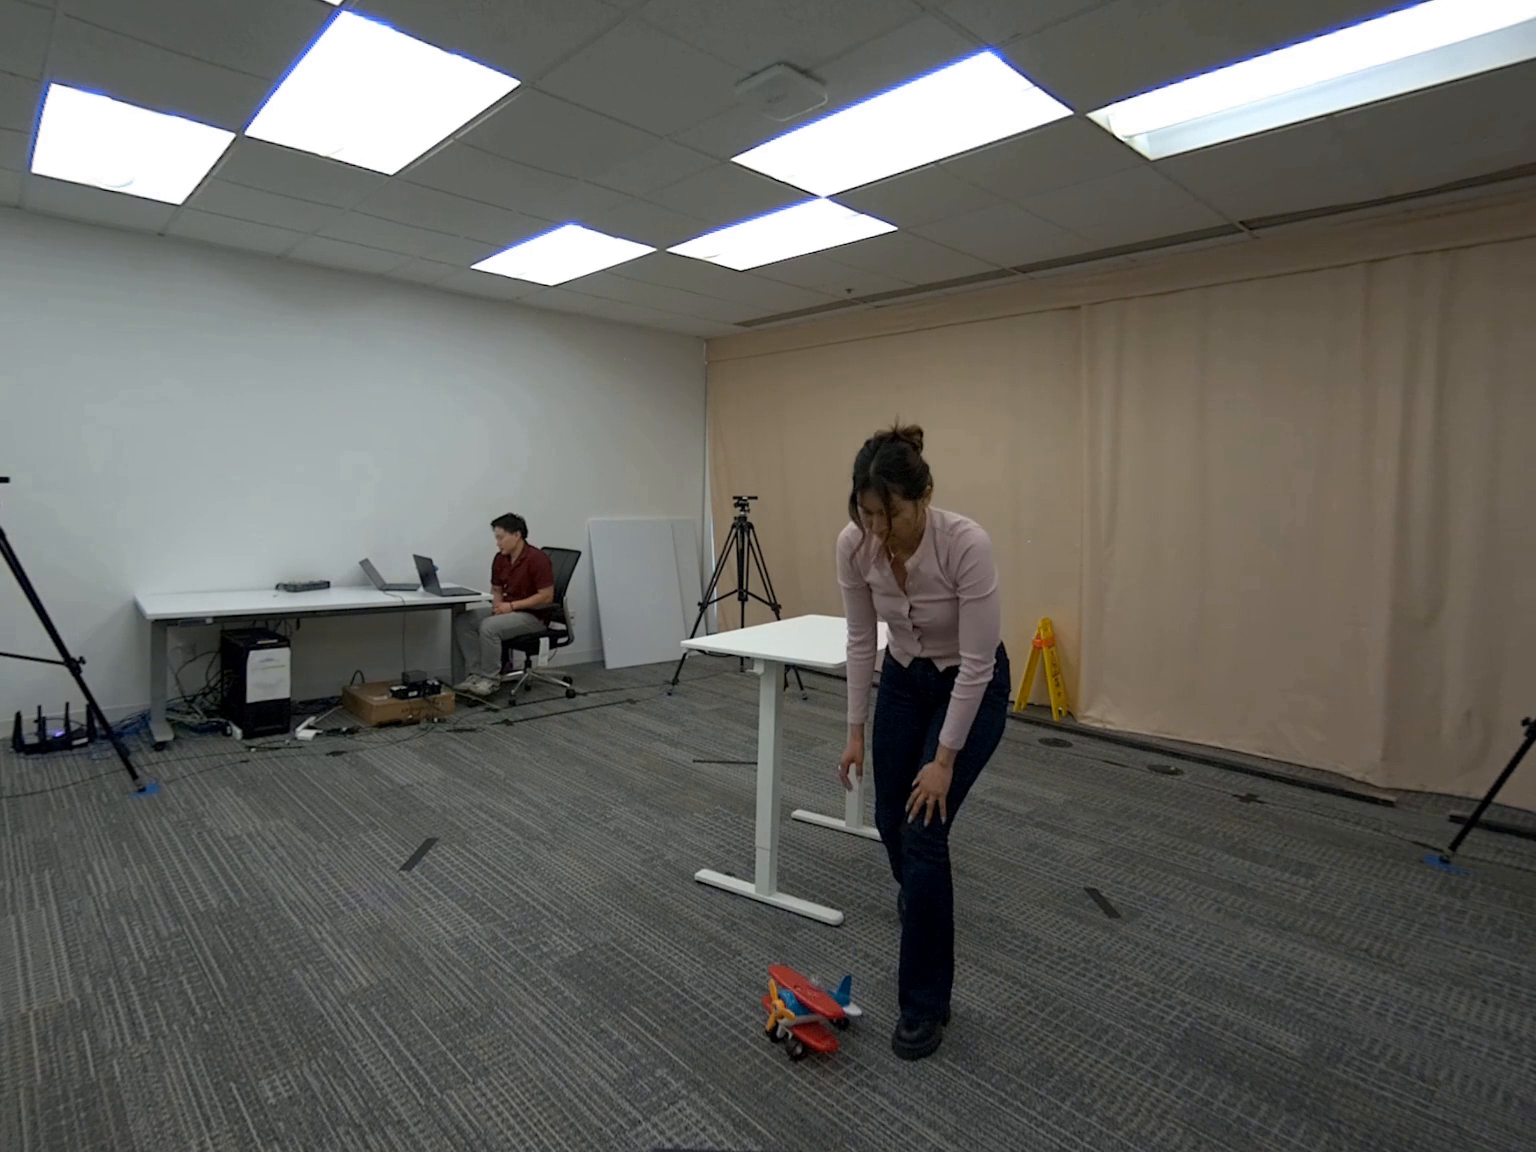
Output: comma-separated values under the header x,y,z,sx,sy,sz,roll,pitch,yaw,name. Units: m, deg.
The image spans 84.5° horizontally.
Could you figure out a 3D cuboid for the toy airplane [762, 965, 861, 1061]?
x,y,z,sx,sy,sz,roll,pitch,yaw,name
0.092,1.109,2.201,0.256,0.156,0.255,5,7,26,toy airplane
